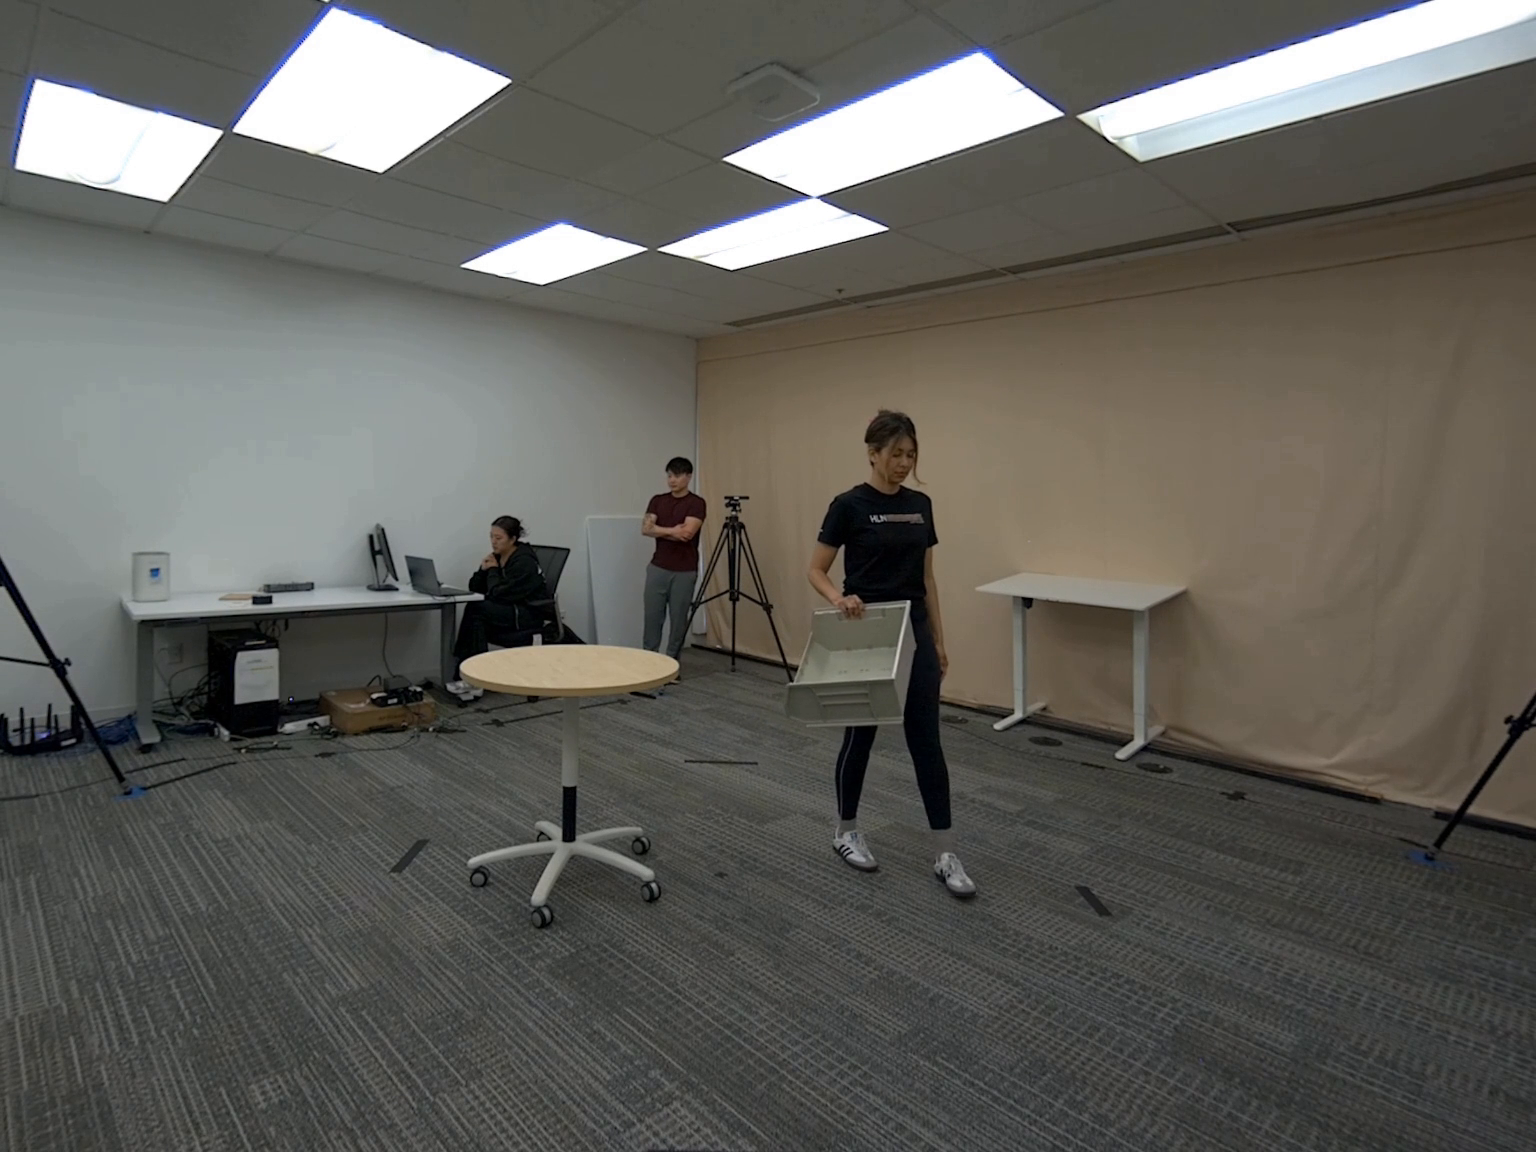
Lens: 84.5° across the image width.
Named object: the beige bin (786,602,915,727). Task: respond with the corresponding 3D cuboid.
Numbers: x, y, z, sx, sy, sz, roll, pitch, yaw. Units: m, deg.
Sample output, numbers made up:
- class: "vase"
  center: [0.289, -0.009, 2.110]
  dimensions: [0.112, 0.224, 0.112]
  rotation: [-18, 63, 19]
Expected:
- class: "beige bin"
  center: [0.269, 0.293, 2.765]
  dimensions: [0.382, 0.185, 0.425]
  rotation: [-8, 28, 21]
